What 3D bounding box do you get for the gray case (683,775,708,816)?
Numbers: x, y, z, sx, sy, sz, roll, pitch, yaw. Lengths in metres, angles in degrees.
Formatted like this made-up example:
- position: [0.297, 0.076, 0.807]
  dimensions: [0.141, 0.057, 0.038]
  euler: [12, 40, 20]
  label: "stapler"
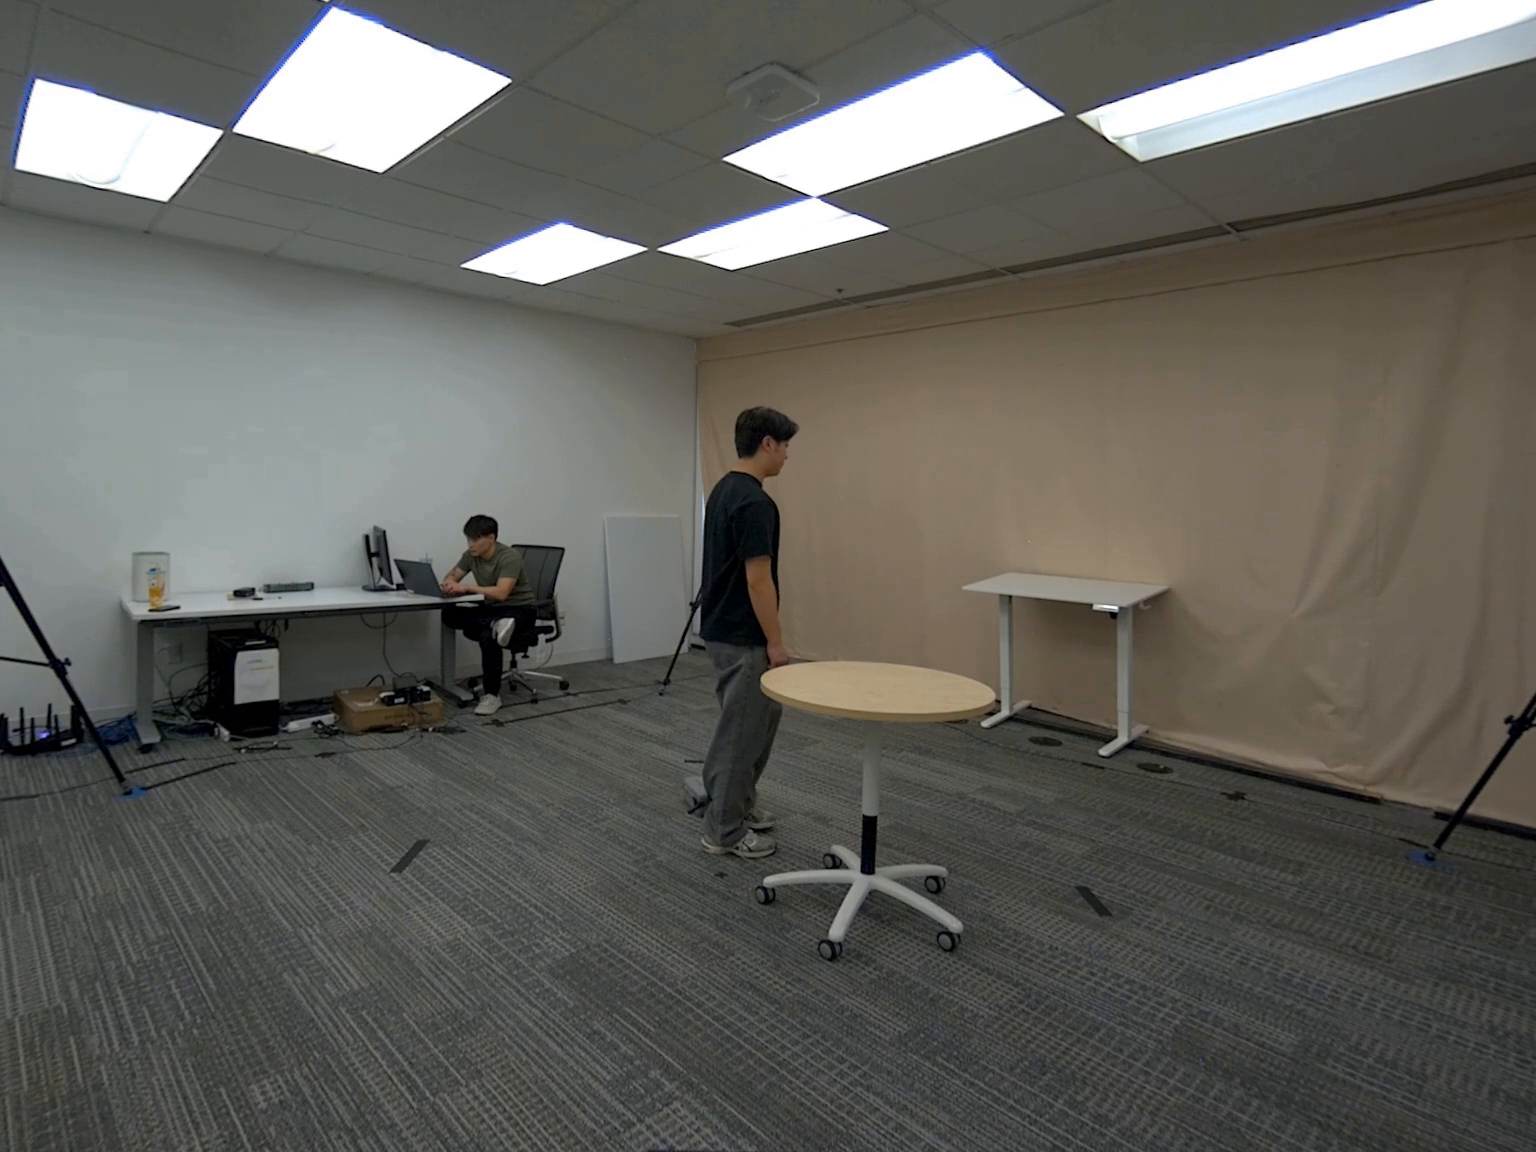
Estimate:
- position: [-0.230, 0.990, 3.814]
  dimensions: [0.283, 0.103, 0.268]
  euler: [0, 5, -21]
  label: "gray case"
